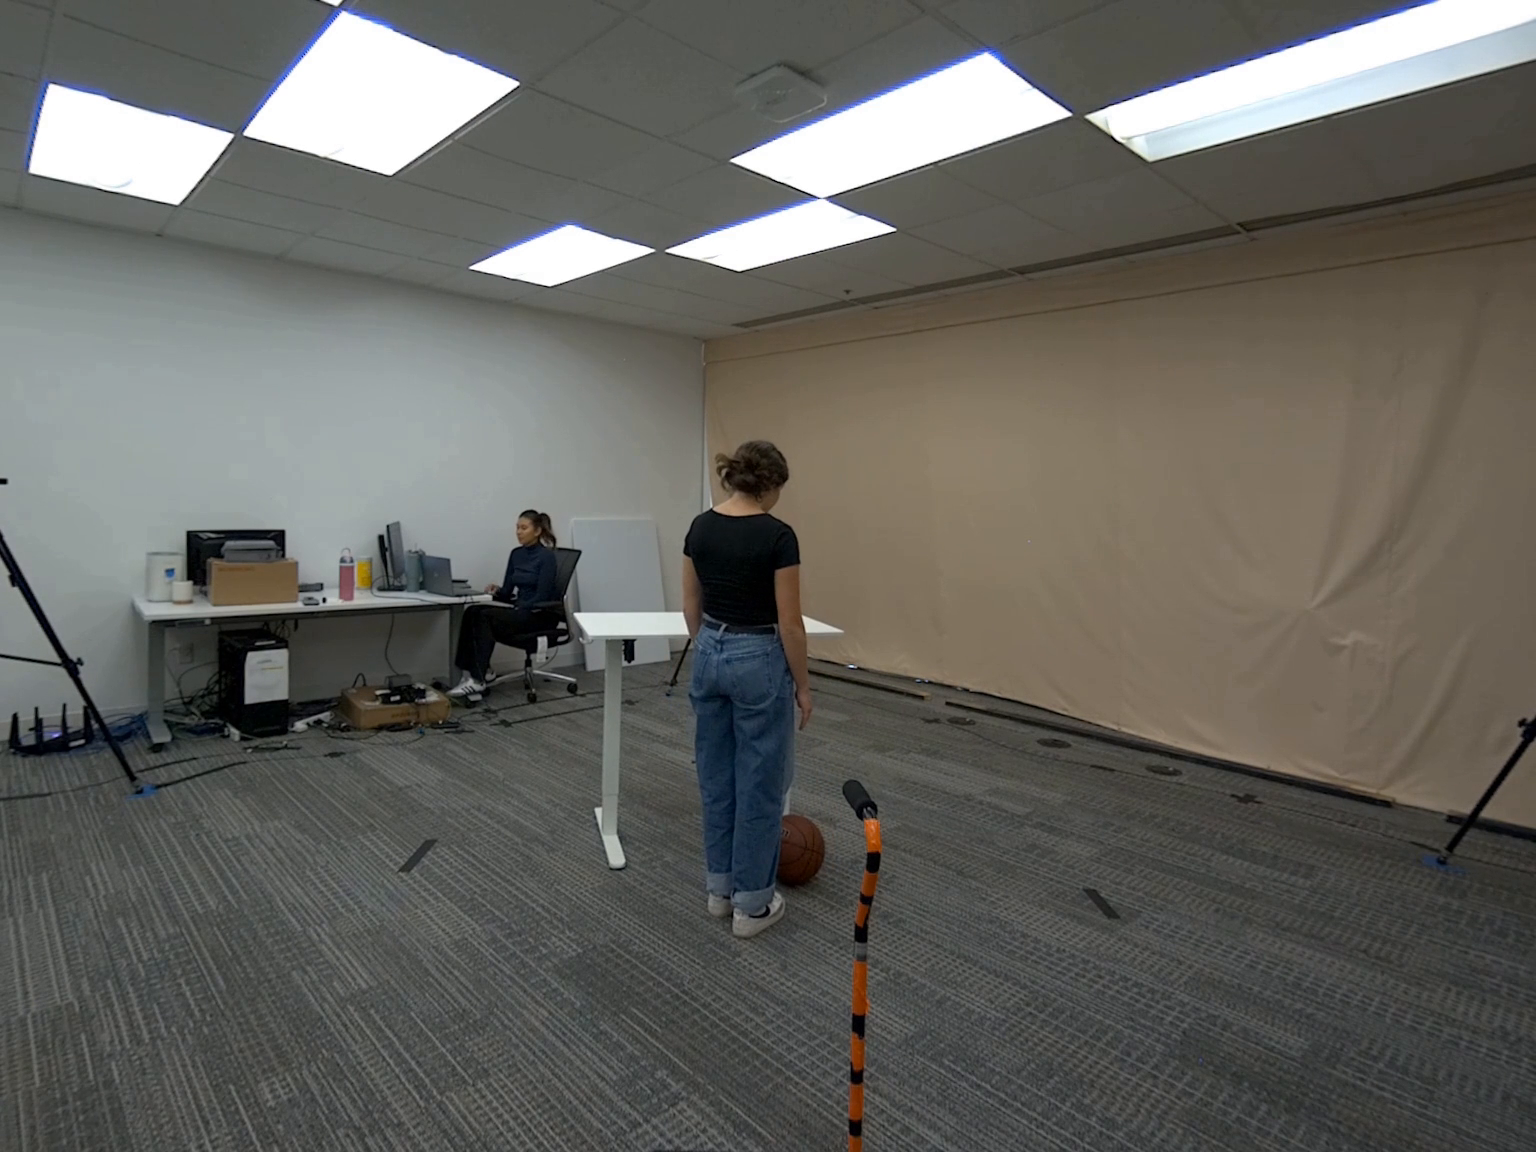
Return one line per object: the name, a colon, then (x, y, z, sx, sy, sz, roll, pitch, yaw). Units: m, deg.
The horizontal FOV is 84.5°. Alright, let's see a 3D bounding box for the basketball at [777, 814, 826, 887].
basketball: (0.083, 0.990, 3.066, 0.236, 0.235, 0.237, 1, 4, -1)
